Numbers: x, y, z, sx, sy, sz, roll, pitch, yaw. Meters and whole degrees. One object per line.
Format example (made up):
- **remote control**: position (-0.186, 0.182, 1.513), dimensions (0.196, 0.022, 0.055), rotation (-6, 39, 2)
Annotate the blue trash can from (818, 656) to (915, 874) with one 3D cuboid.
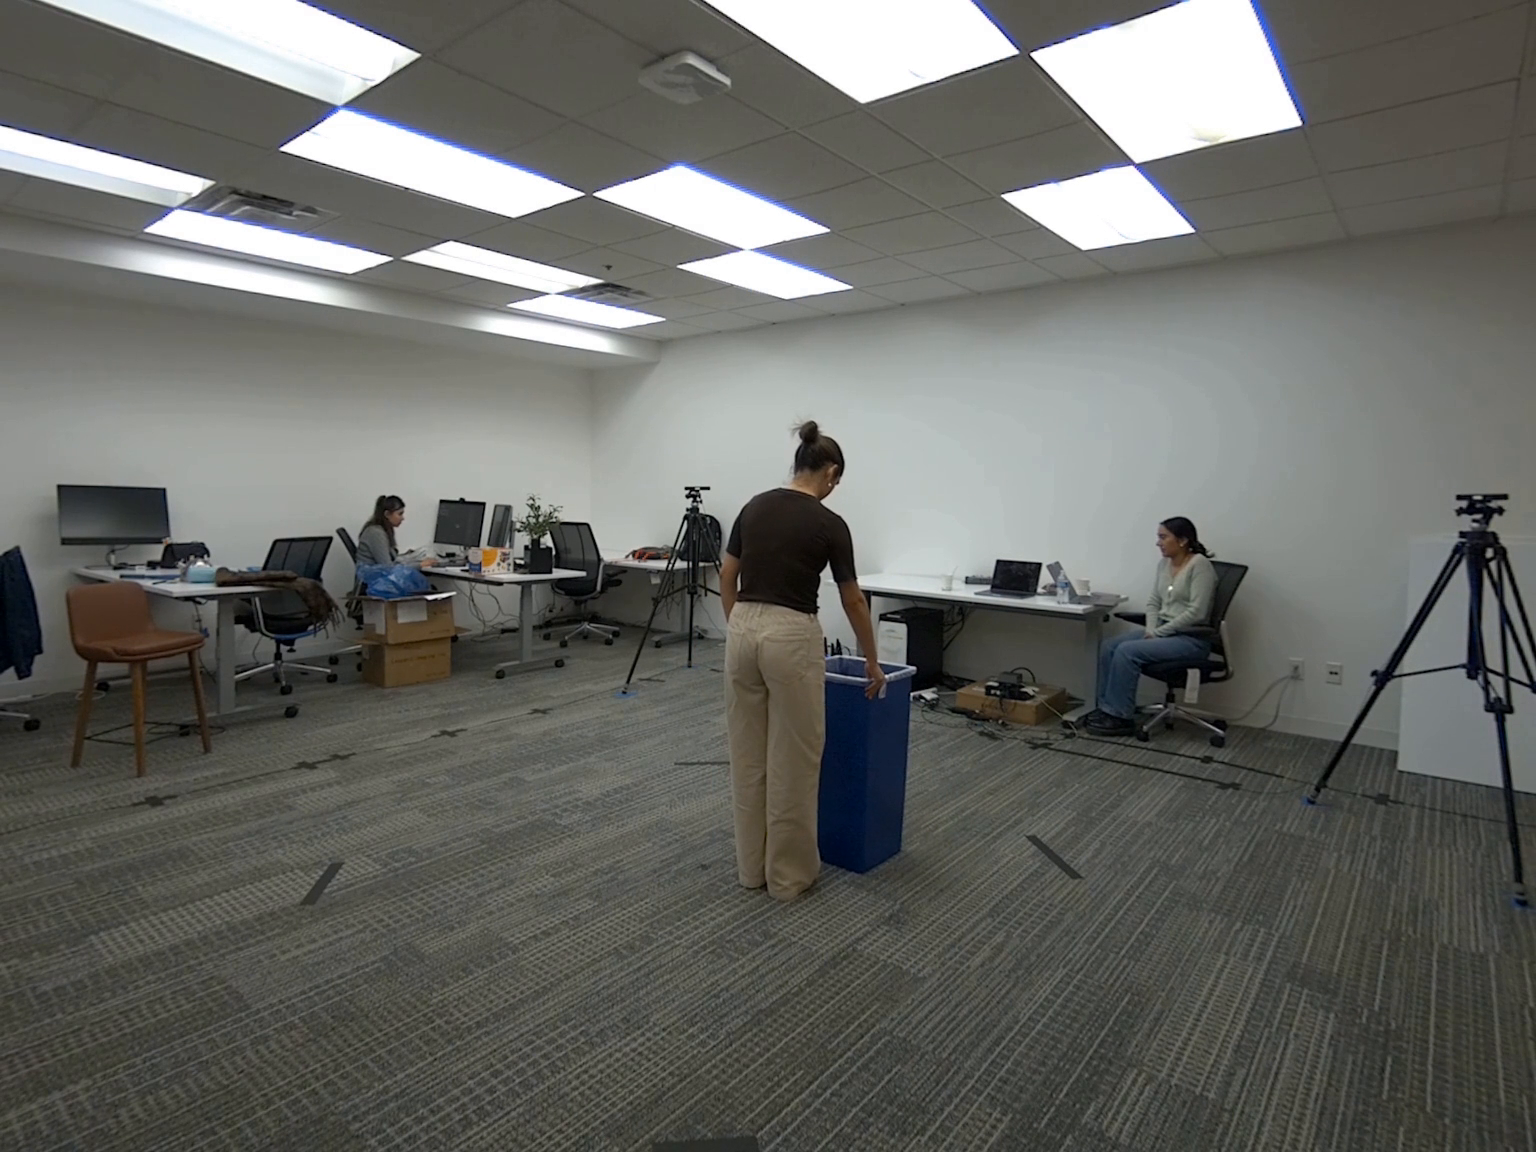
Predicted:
- **blue trash can**: position (0.314, 0.699, 3.277), dimensions (0.390, 0.712, 0.363), rotation (3, 4, 38)
